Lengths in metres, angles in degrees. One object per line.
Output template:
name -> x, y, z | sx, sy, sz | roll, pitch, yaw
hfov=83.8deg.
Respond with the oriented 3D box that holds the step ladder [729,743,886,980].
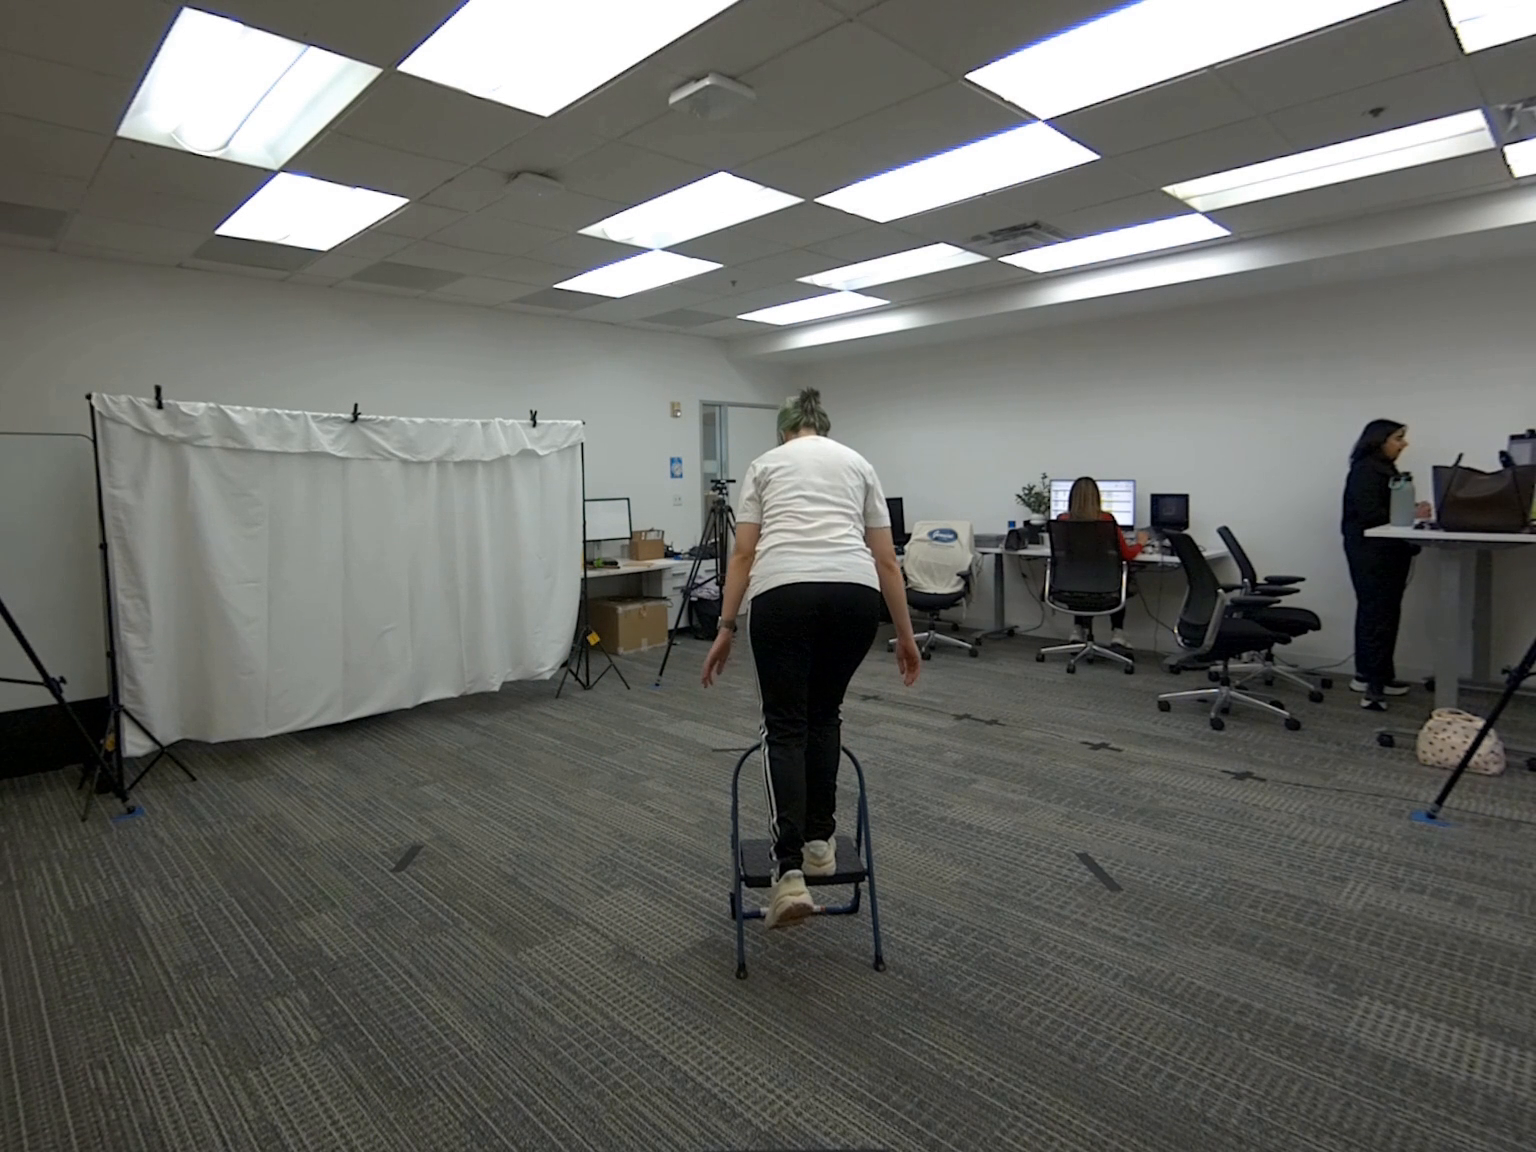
step ladder -> 0.102, 0.811, 2.565 | 0.429, 0.604, 0.352 | -2, 4, -4
